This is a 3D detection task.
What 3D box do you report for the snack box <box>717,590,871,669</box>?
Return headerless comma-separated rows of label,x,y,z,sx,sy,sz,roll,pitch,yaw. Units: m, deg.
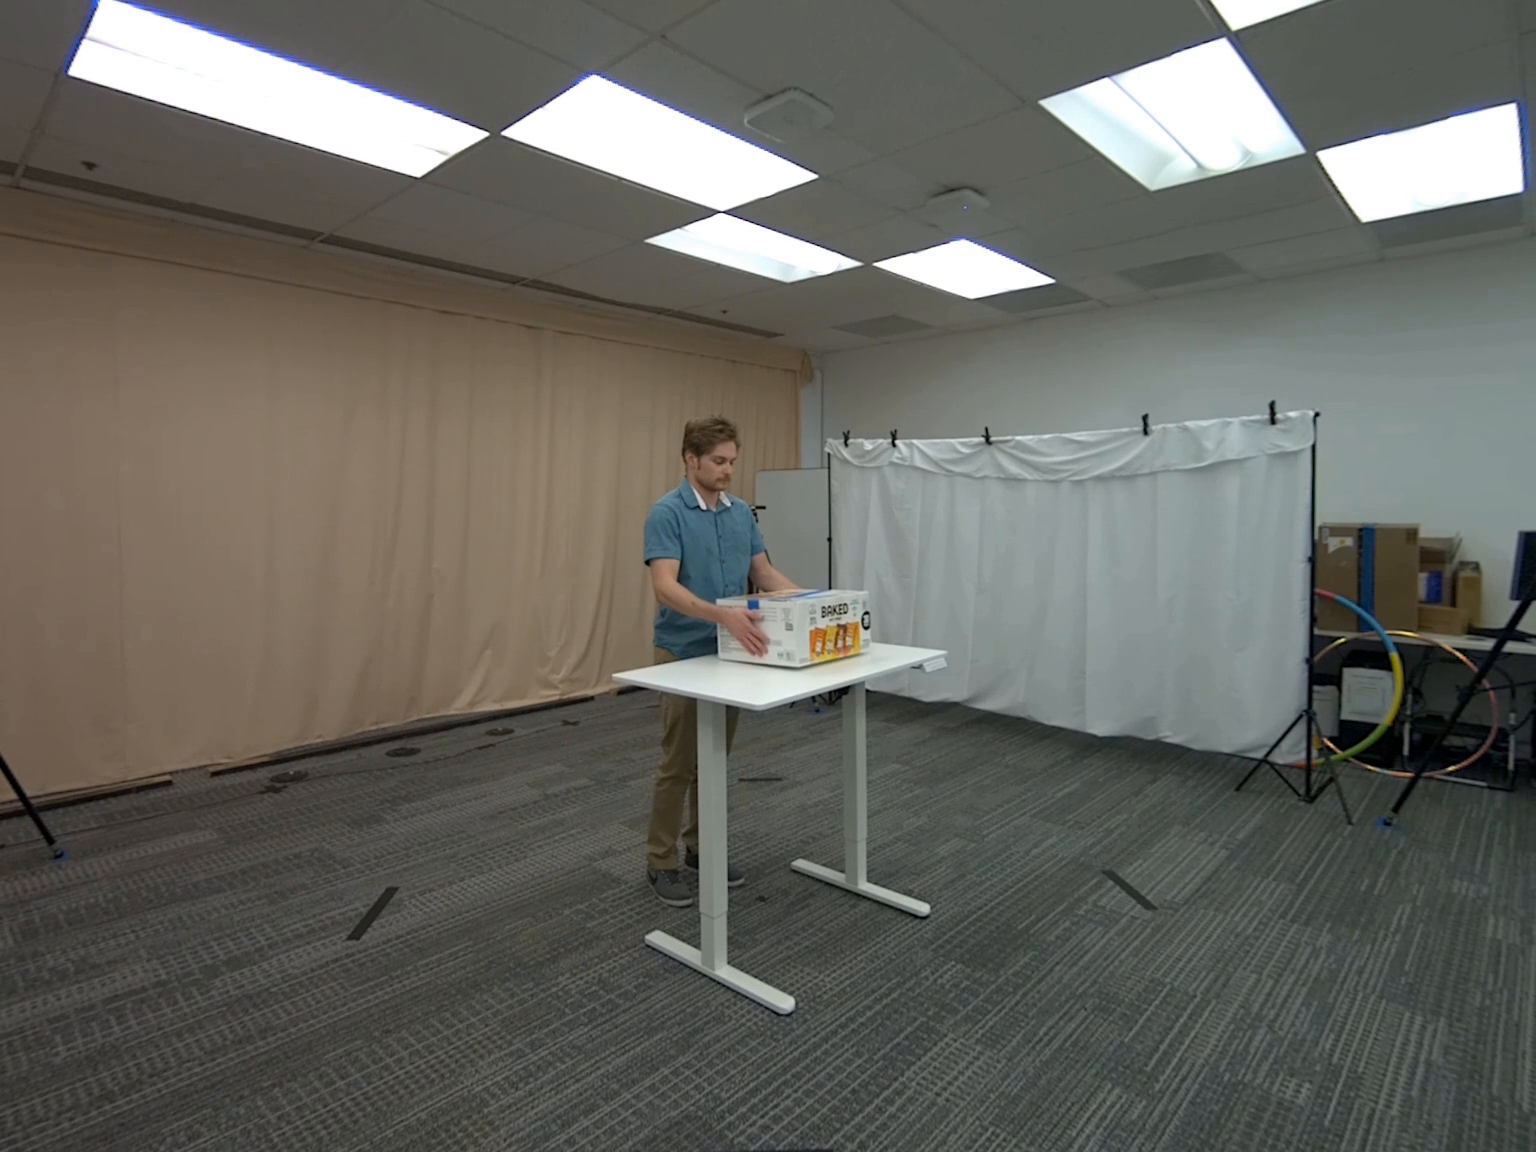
snack box,0.095,0.165,2.826,0.351,0.205,0.393,-1,3,41
